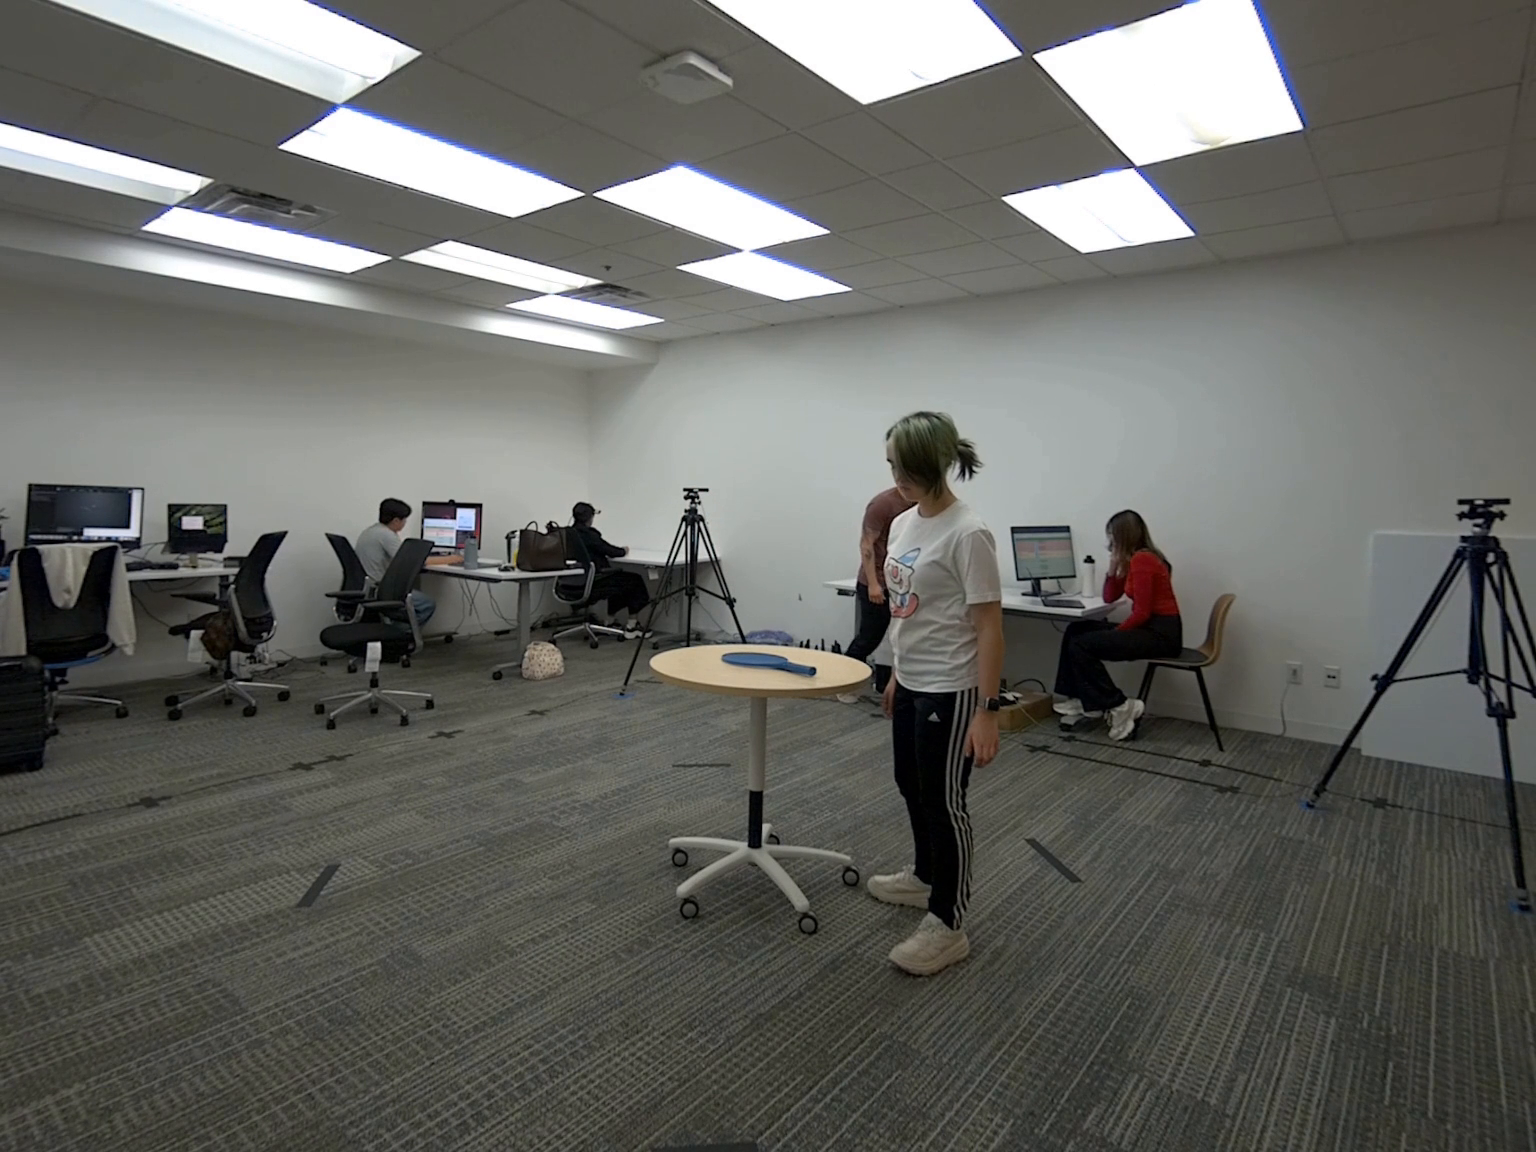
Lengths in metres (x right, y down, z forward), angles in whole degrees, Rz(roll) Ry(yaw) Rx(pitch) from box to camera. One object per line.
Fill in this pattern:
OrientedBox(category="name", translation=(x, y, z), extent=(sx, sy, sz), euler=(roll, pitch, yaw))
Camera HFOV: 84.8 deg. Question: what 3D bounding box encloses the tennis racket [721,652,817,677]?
OrientedBox(category="tennis racket", translation=(0.004, 0.299, 2.936), extent=(0.207, 0.031, 0.447), euler=(-4, 7, -40))
